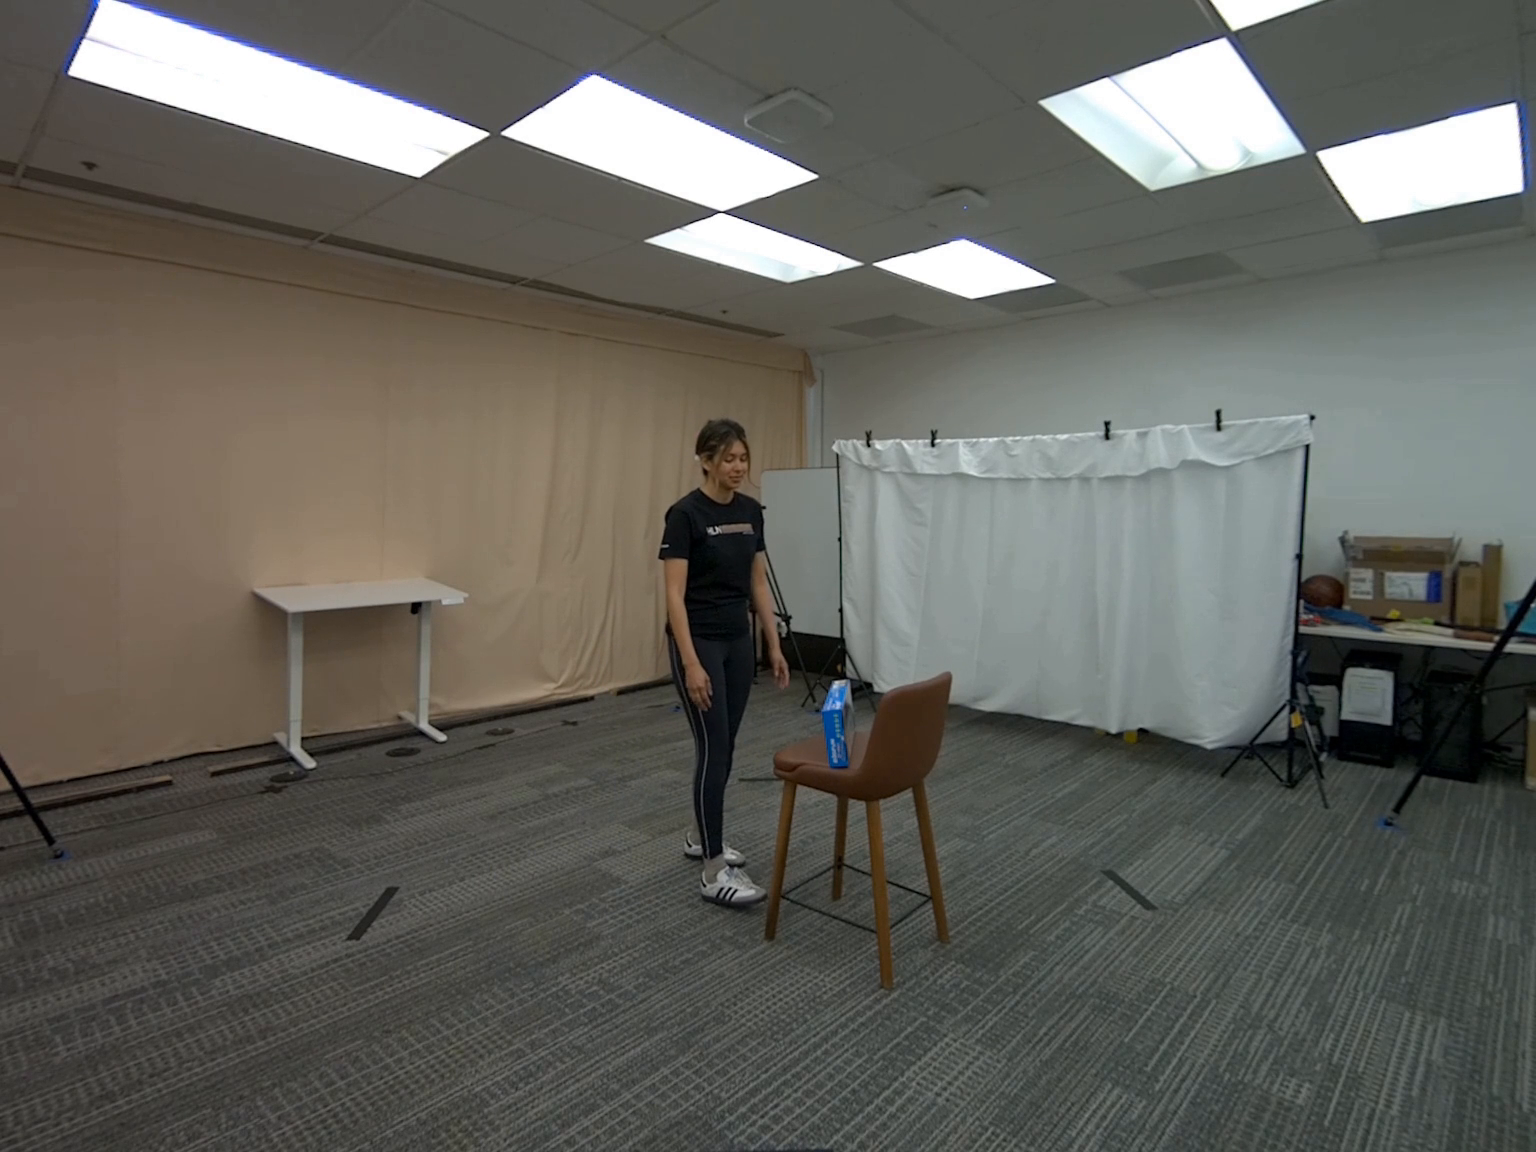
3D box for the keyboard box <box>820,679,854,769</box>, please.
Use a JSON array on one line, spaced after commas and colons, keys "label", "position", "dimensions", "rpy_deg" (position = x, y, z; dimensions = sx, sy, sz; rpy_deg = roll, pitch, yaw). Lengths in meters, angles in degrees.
[{"label": "keyboard box", "position": [0.236, 0.461, 2.700], "dimensions": [0.060, 0.175, 0.433], "rpy_deg": [-6, 4, 9]}]
